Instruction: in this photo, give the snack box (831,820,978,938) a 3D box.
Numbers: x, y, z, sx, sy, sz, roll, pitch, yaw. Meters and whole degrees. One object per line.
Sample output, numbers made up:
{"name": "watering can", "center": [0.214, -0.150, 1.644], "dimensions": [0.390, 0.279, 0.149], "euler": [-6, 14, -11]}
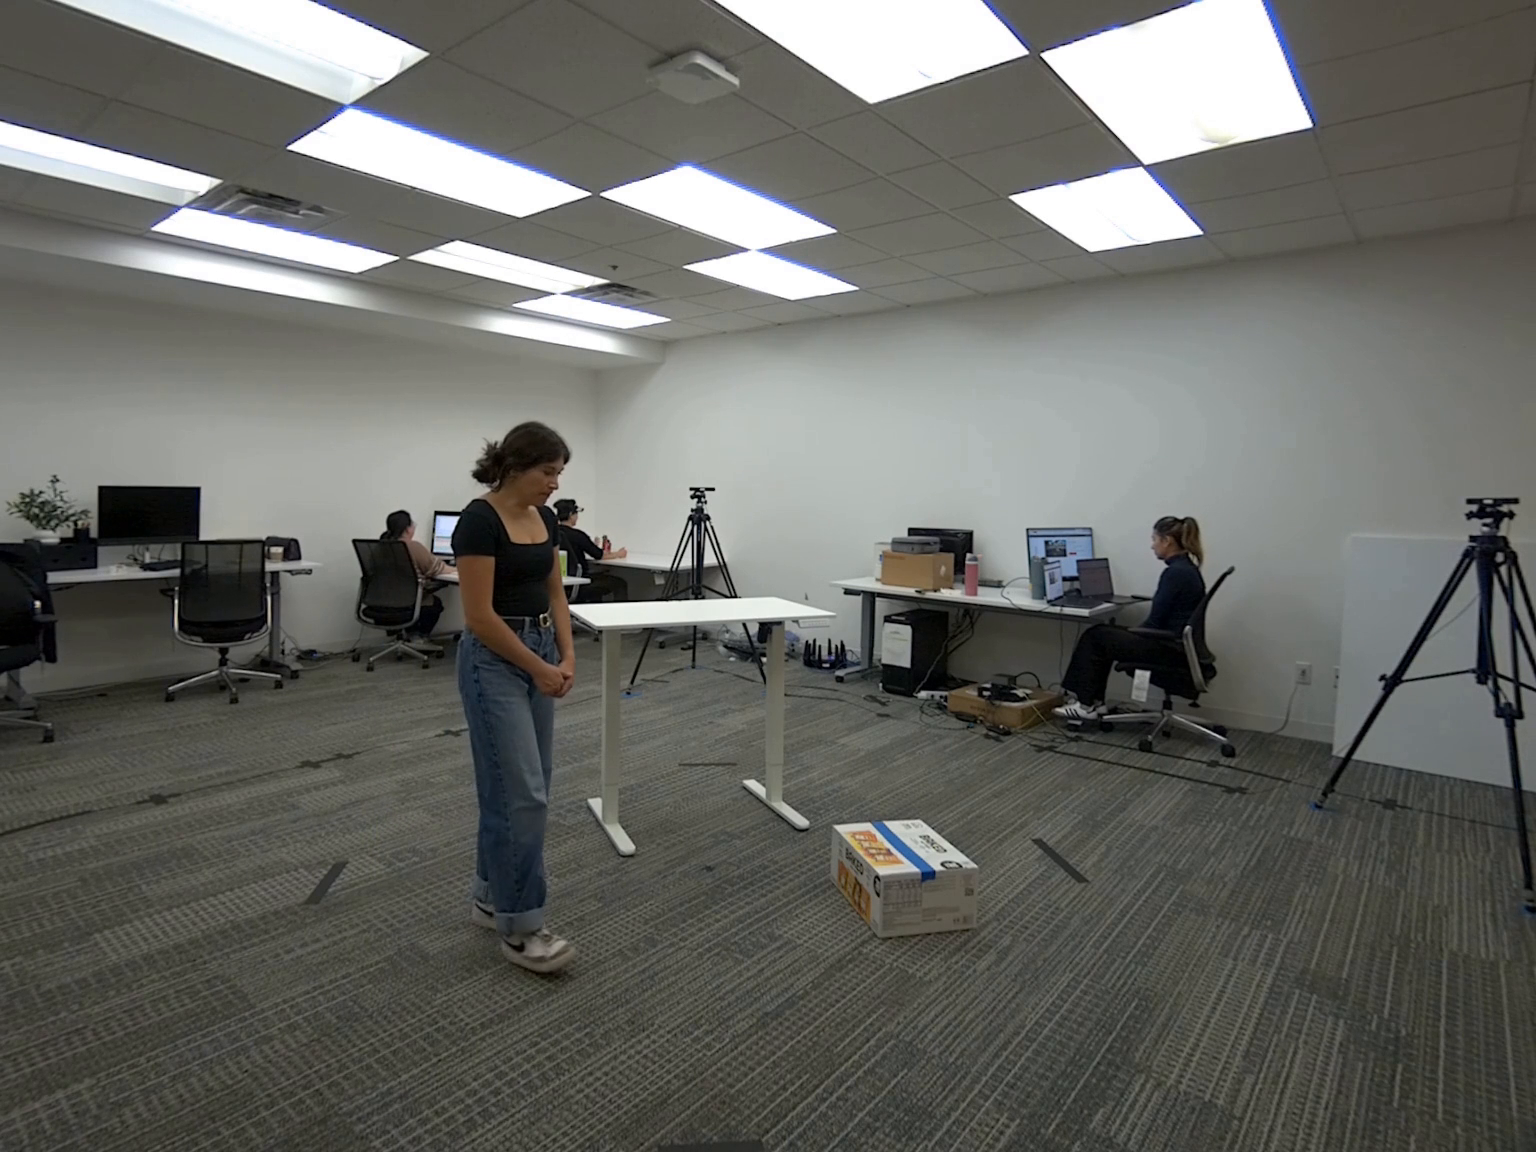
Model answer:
{"name": "snack box", "center": [0.444, 1.003, 2.869], "dimensions": [0.335, 0.205, 0.413], "euler": [0, 5, -16]}
